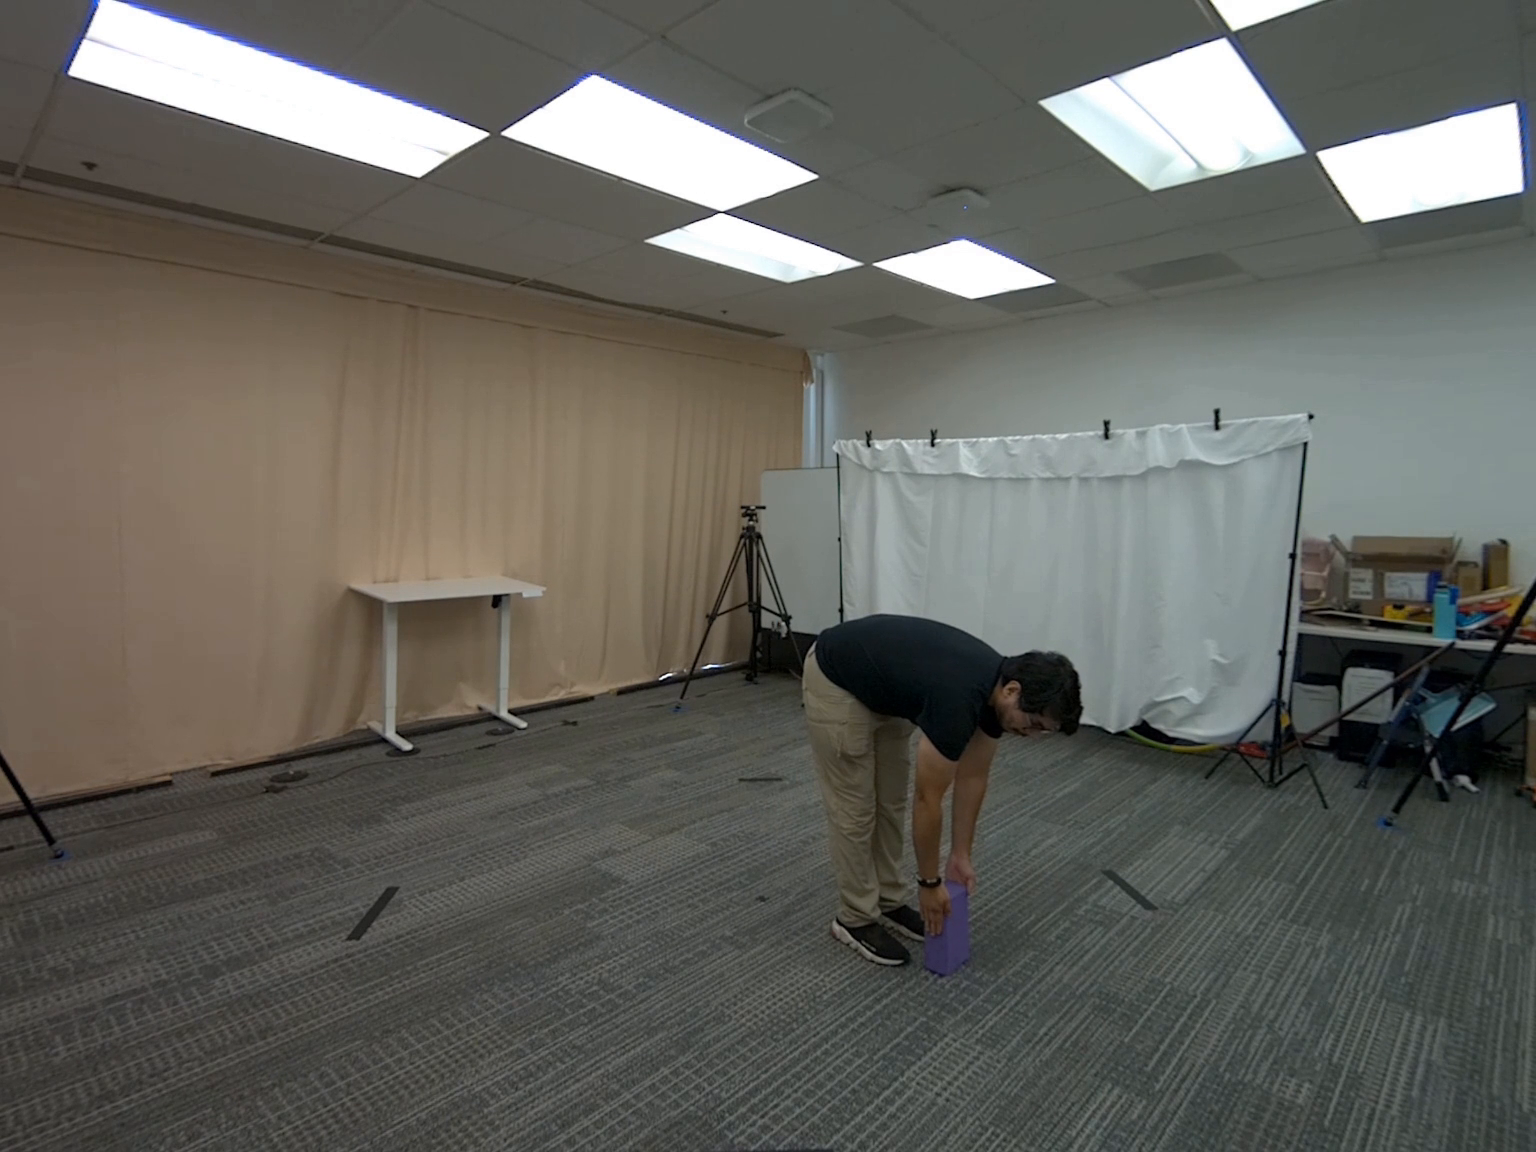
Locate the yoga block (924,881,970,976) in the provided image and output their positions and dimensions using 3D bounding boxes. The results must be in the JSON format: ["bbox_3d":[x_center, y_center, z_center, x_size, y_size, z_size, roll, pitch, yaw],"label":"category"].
[{"bbox_3d":[0.551,1.068,2.546,0.144,0.229,0.079,-2,5,-45],"label":"yoga block"}]
